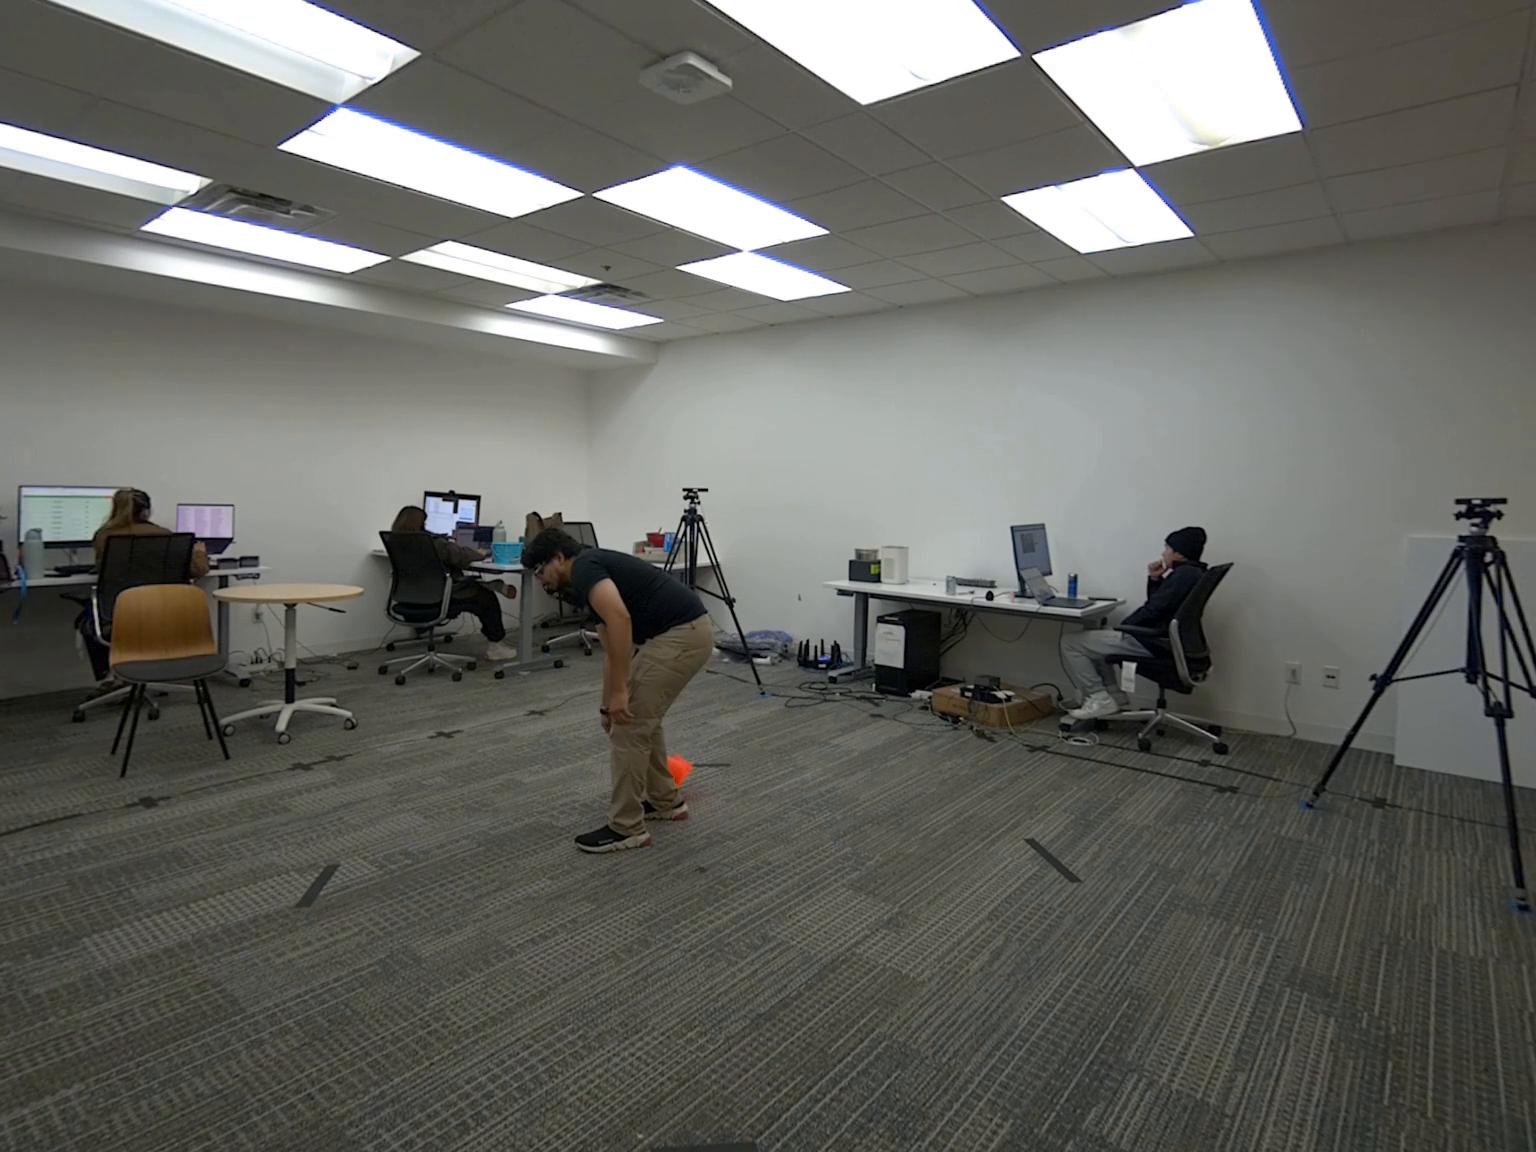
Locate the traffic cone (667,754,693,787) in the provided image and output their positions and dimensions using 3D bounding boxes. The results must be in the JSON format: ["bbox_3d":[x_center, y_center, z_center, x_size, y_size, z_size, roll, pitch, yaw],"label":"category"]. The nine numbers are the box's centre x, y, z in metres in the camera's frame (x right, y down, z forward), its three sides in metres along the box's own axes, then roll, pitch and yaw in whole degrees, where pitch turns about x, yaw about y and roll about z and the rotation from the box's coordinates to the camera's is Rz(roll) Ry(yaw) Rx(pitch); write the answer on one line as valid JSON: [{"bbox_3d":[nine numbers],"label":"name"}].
[{"bbox_3d":[-0.567,0.796,3.808,0.373,0.205,0.209,45,-17,-21],"label":"traffic cone"}]
